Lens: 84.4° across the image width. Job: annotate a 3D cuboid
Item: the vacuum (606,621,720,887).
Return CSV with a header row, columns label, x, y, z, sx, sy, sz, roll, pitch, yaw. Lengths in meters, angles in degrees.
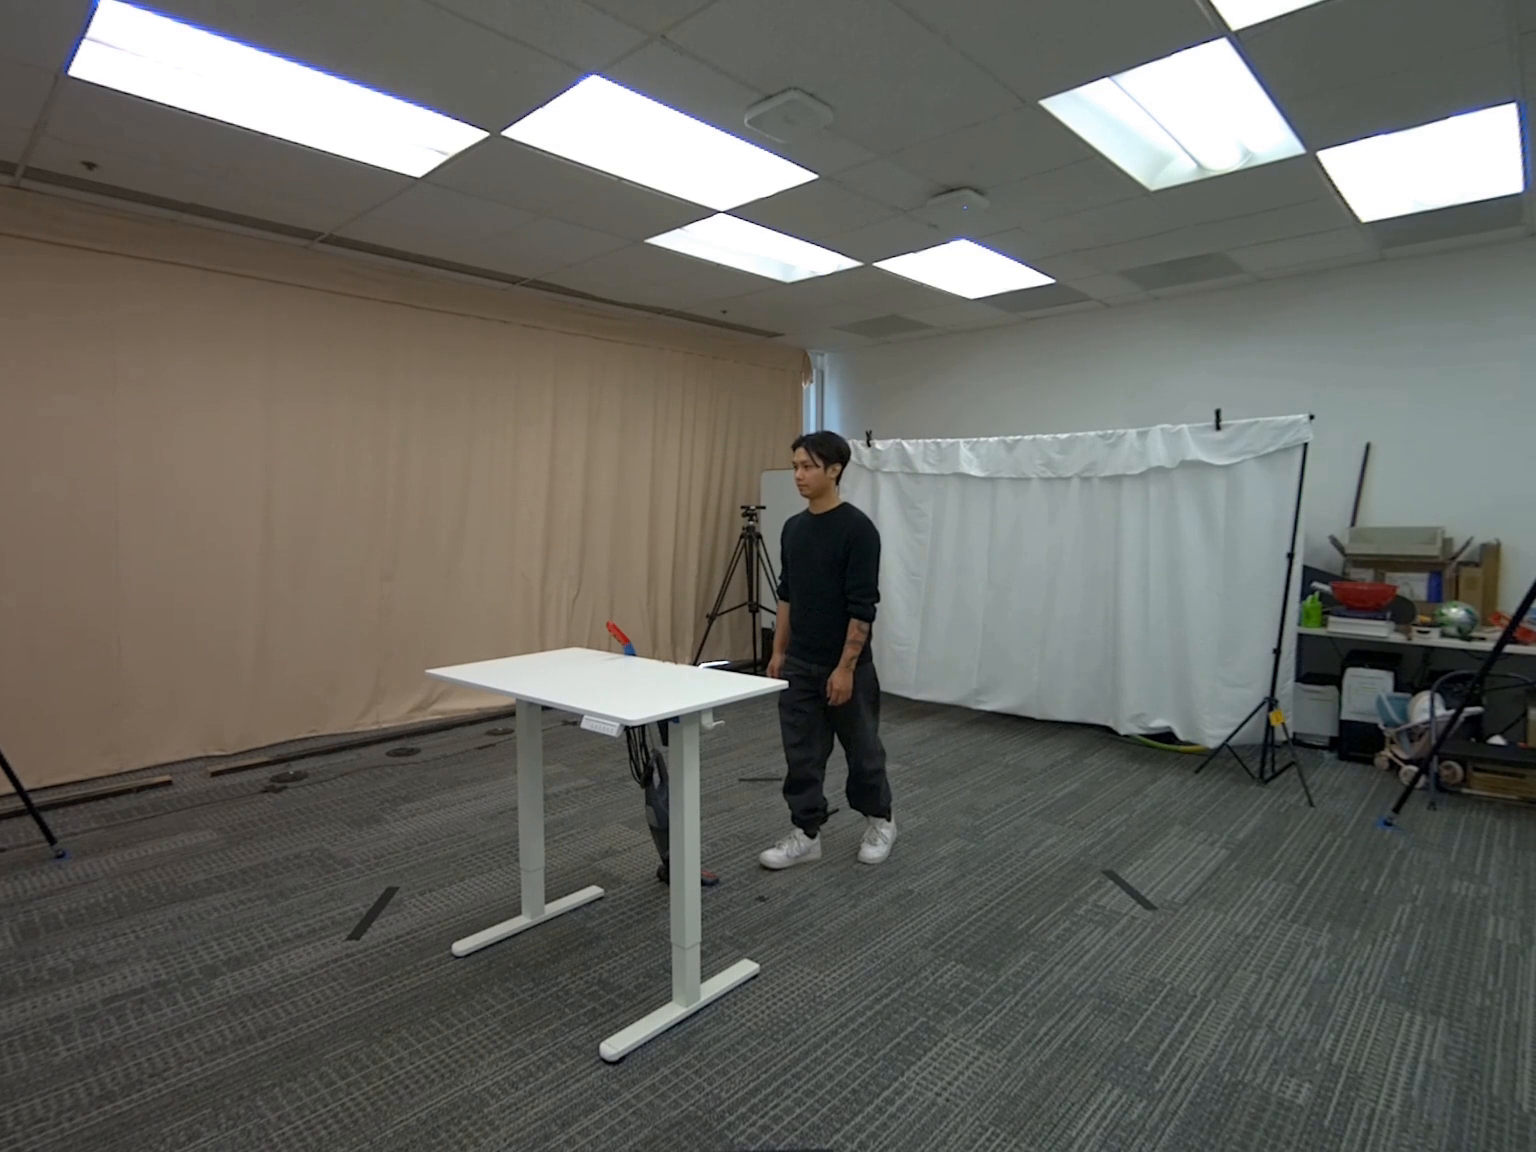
label,x,y,z,sx,sy,sz,roll,pitch,yaw
vacuum,-0.431,0.650,3.001,0.261,1.035,0.141,0,21,40
